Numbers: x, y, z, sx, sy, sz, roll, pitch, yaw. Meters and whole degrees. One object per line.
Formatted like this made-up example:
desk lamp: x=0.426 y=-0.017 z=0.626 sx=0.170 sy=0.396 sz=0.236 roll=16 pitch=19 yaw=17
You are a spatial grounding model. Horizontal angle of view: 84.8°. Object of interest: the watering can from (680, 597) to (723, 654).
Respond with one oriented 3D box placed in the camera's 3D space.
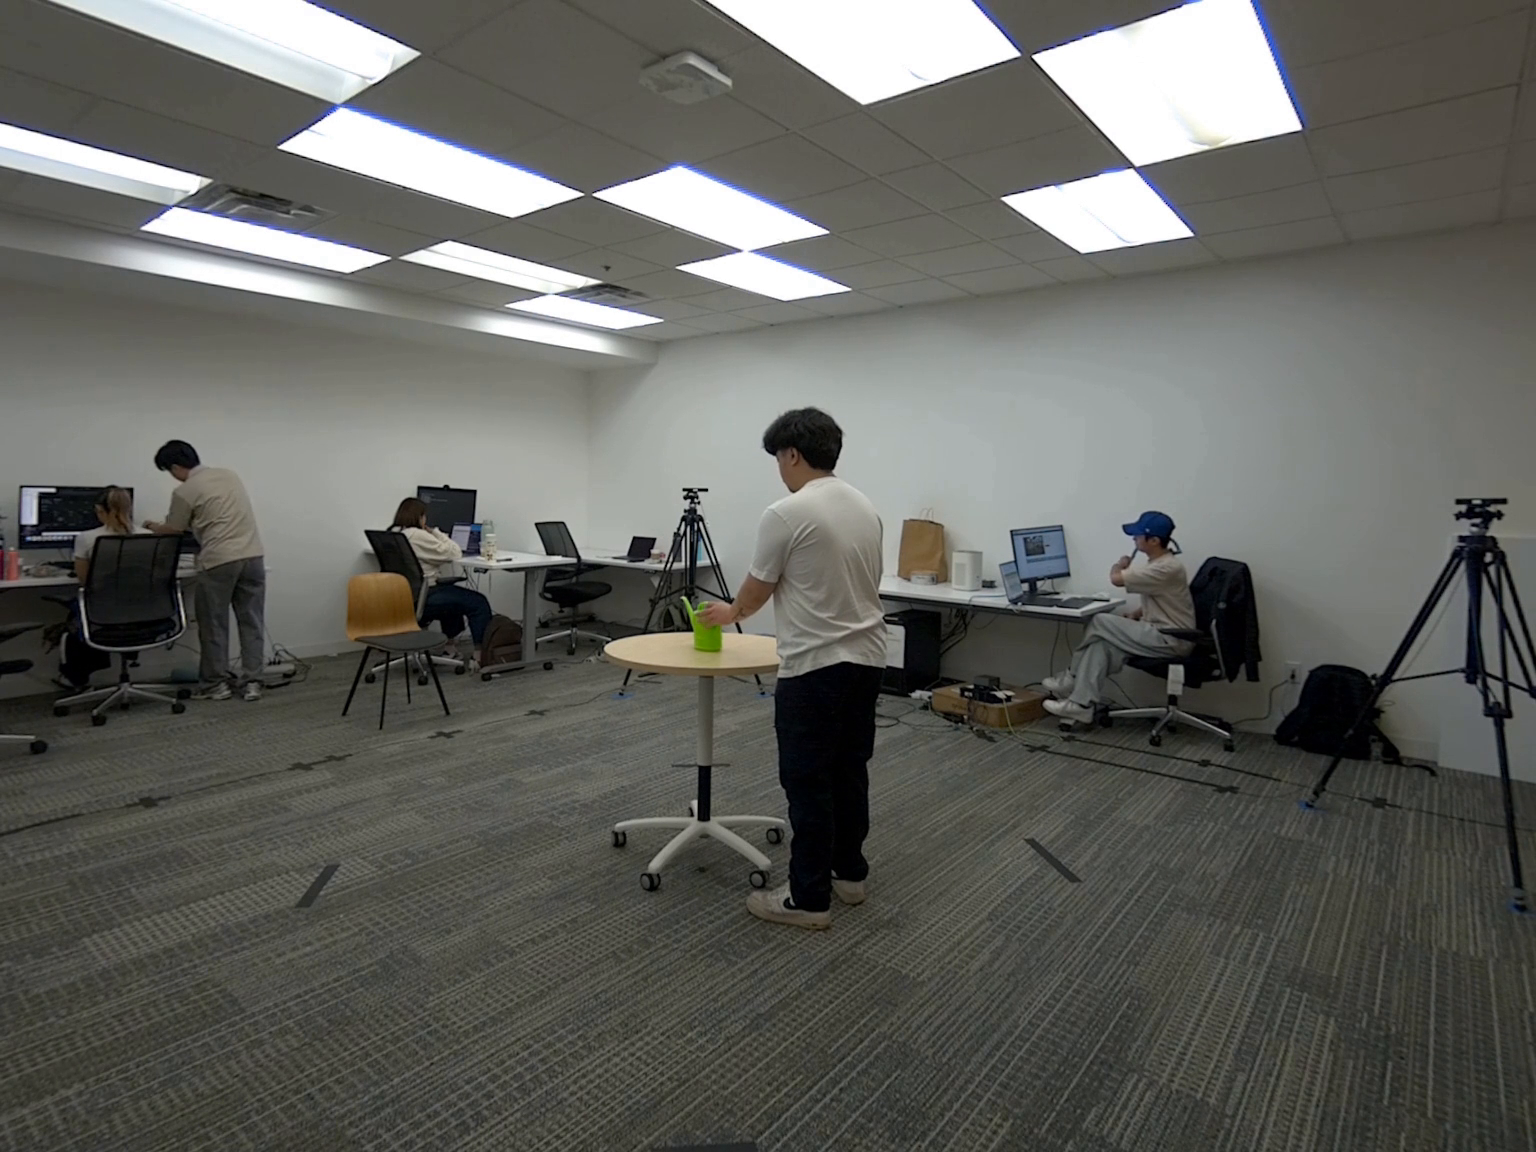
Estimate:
watering can: x=-0.253 y=0.177 z=3.212 sx=0.096 sy=0.176 sz=0.286 roll=0 pitch=6 yaw=-23
